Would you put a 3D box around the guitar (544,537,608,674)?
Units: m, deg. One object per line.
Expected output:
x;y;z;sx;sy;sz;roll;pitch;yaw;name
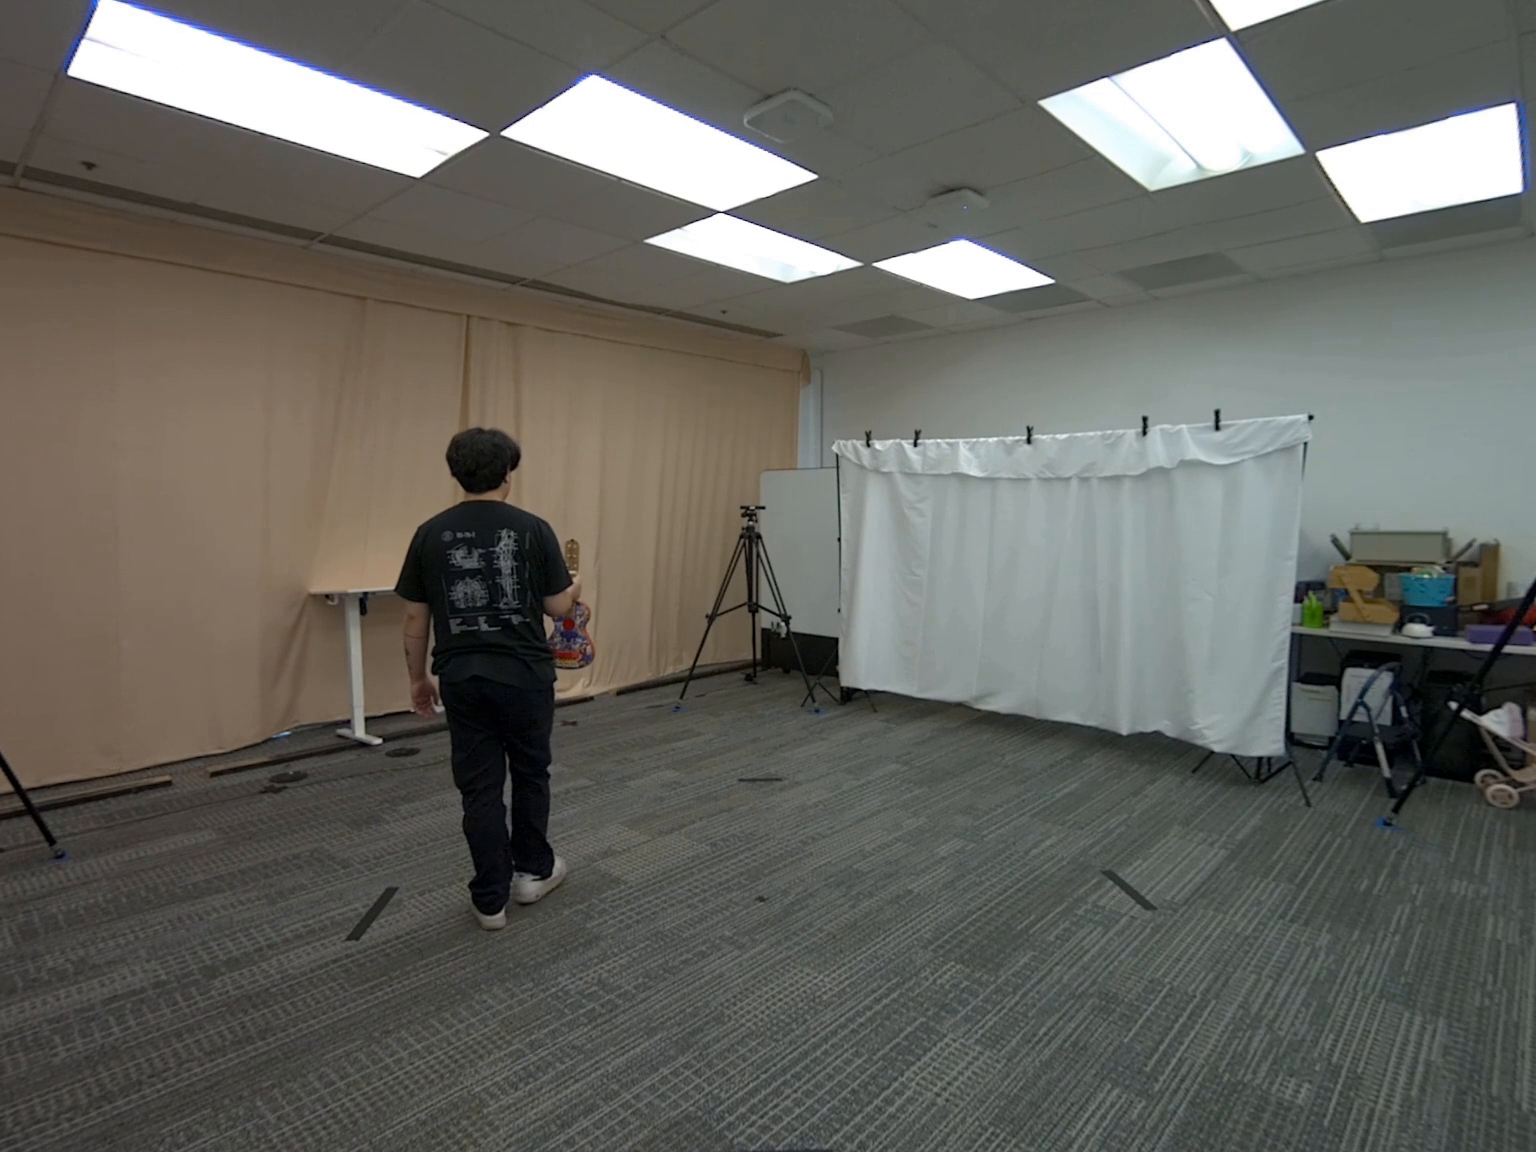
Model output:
-0.747;0.111;3.253;0.193;0.498;0.070;6;-2;0;guitar
